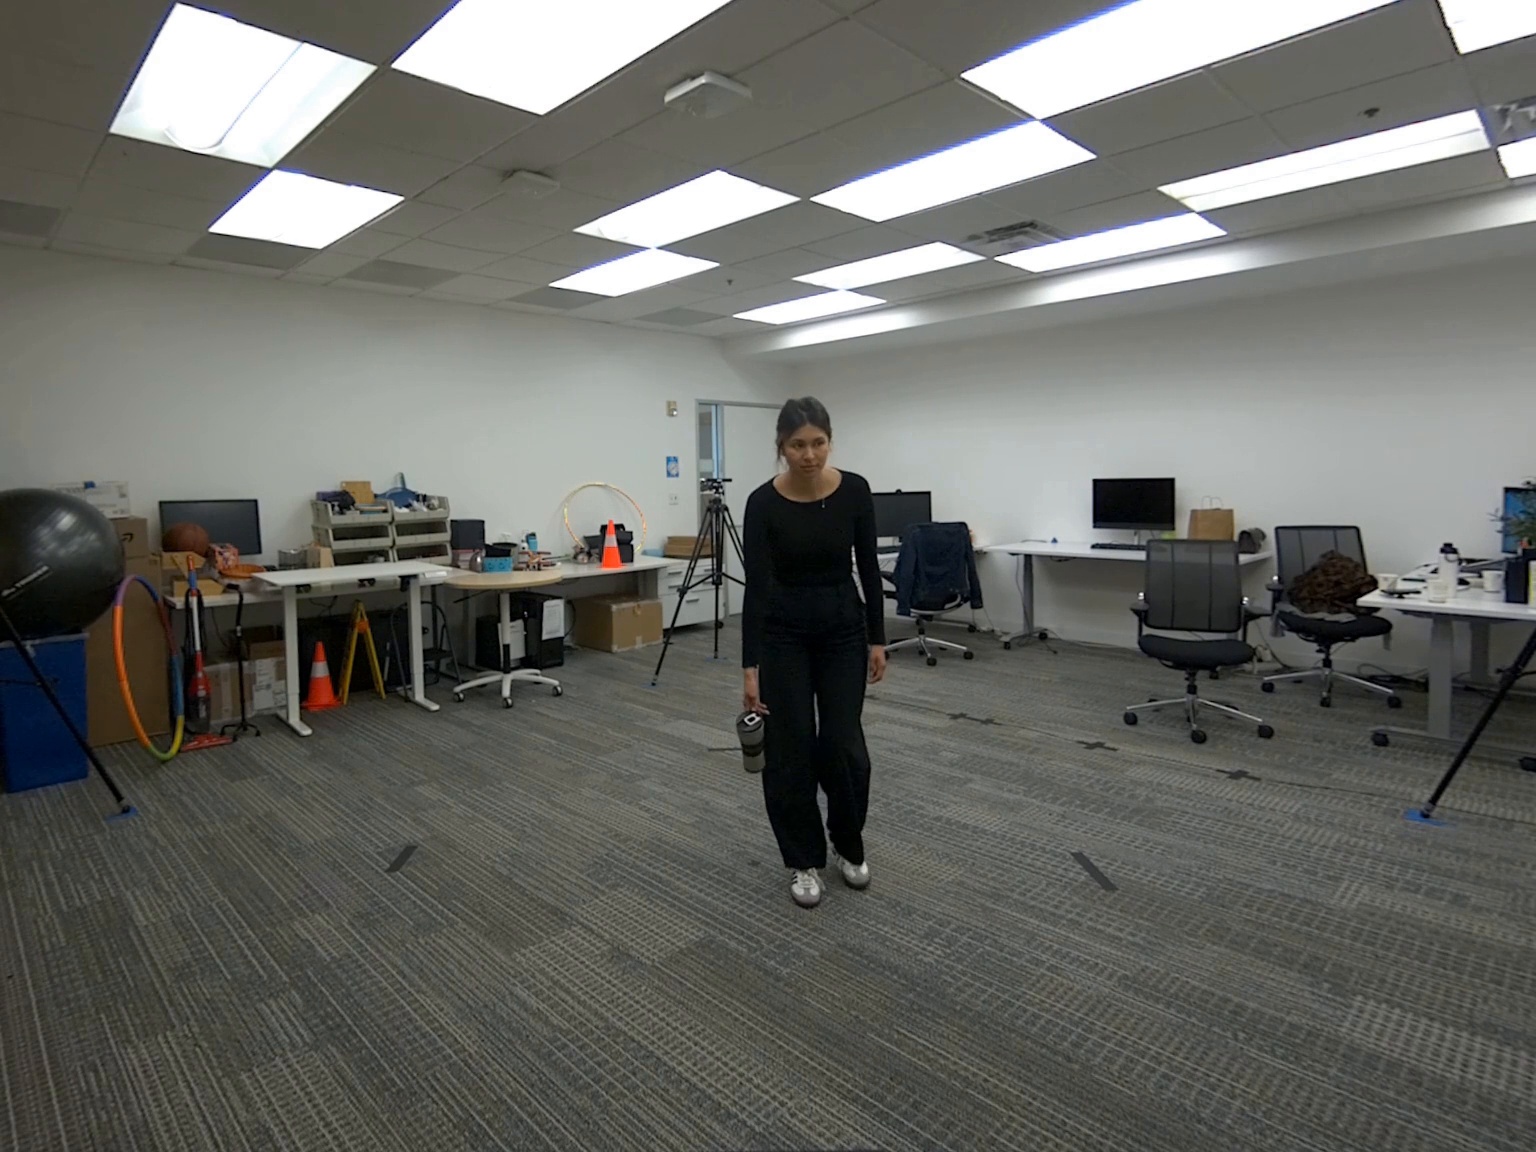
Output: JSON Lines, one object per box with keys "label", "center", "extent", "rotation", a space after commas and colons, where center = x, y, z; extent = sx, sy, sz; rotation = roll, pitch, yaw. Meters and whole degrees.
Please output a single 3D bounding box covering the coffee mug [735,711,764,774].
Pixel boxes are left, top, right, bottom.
{"label": "coffee mug", "center": [-0.037, 0.539, 2.750], "extent": [0.121, 0.197, 0.091], "rotation": [-31, 36, -32]}
